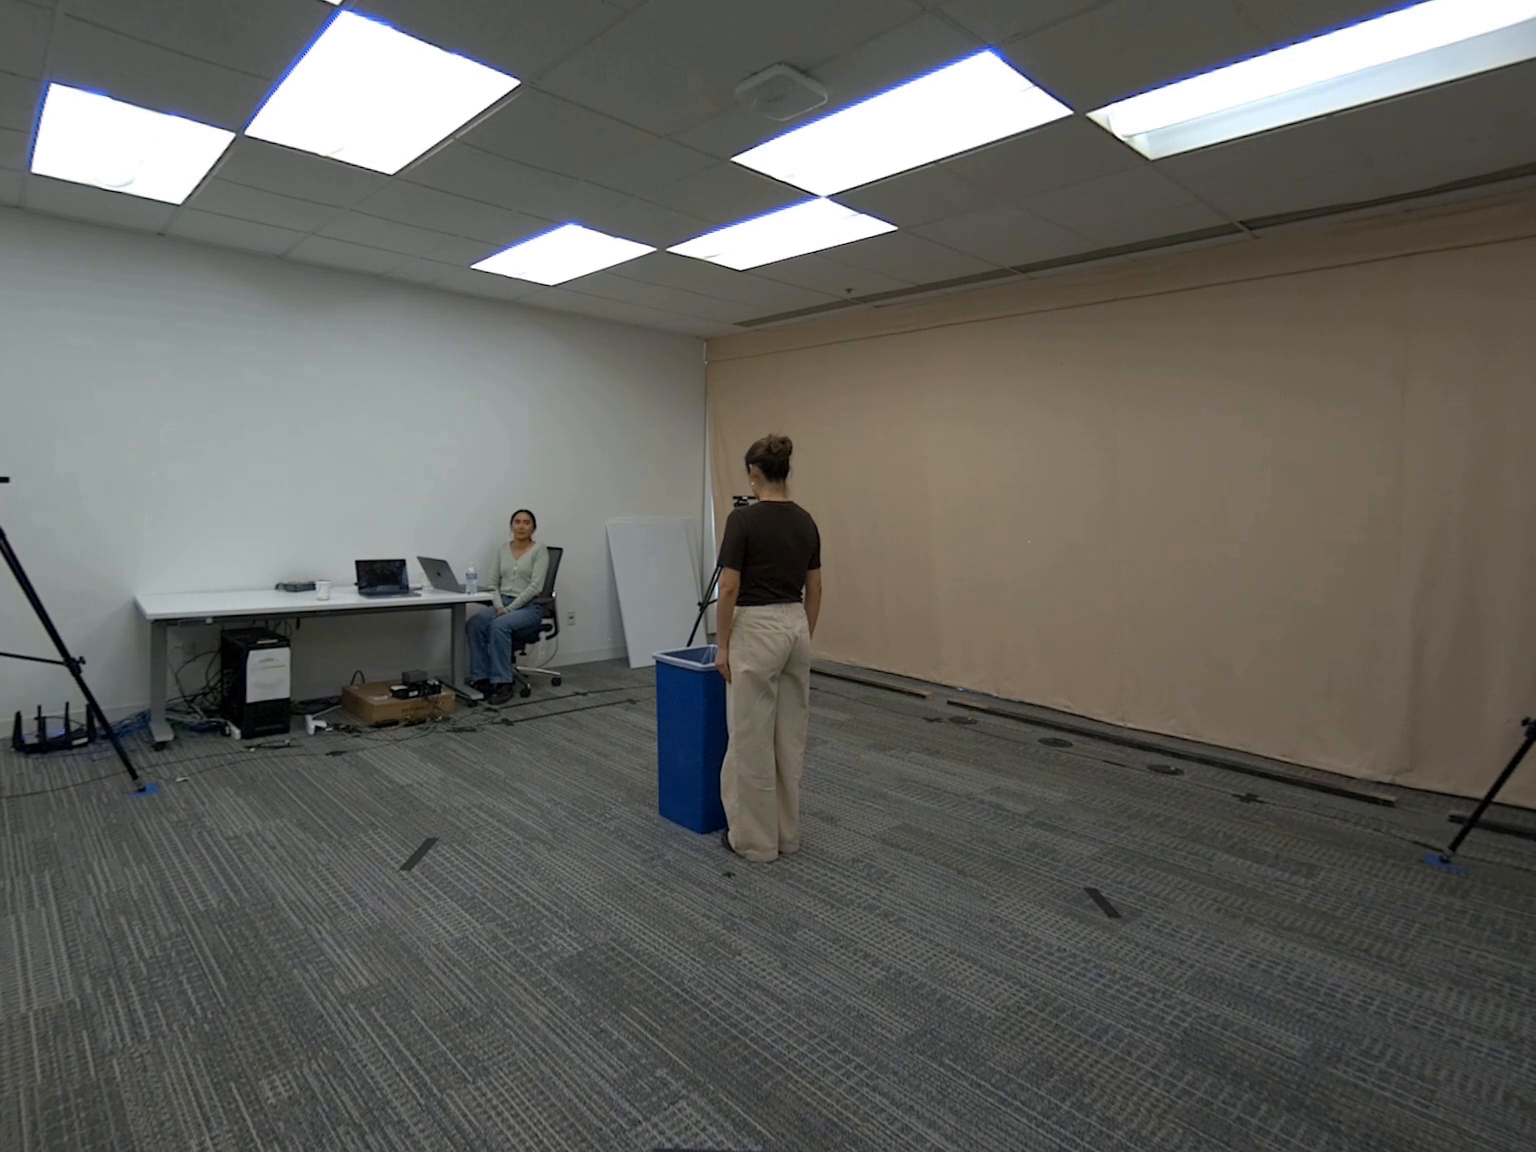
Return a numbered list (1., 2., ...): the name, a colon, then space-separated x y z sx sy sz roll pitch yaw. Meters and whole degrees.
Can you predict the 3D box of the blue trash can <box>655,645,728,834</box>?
1. blue trash can: -0.278 0.692 3.662 0.369 0.712 0.383 -2 5 -45
